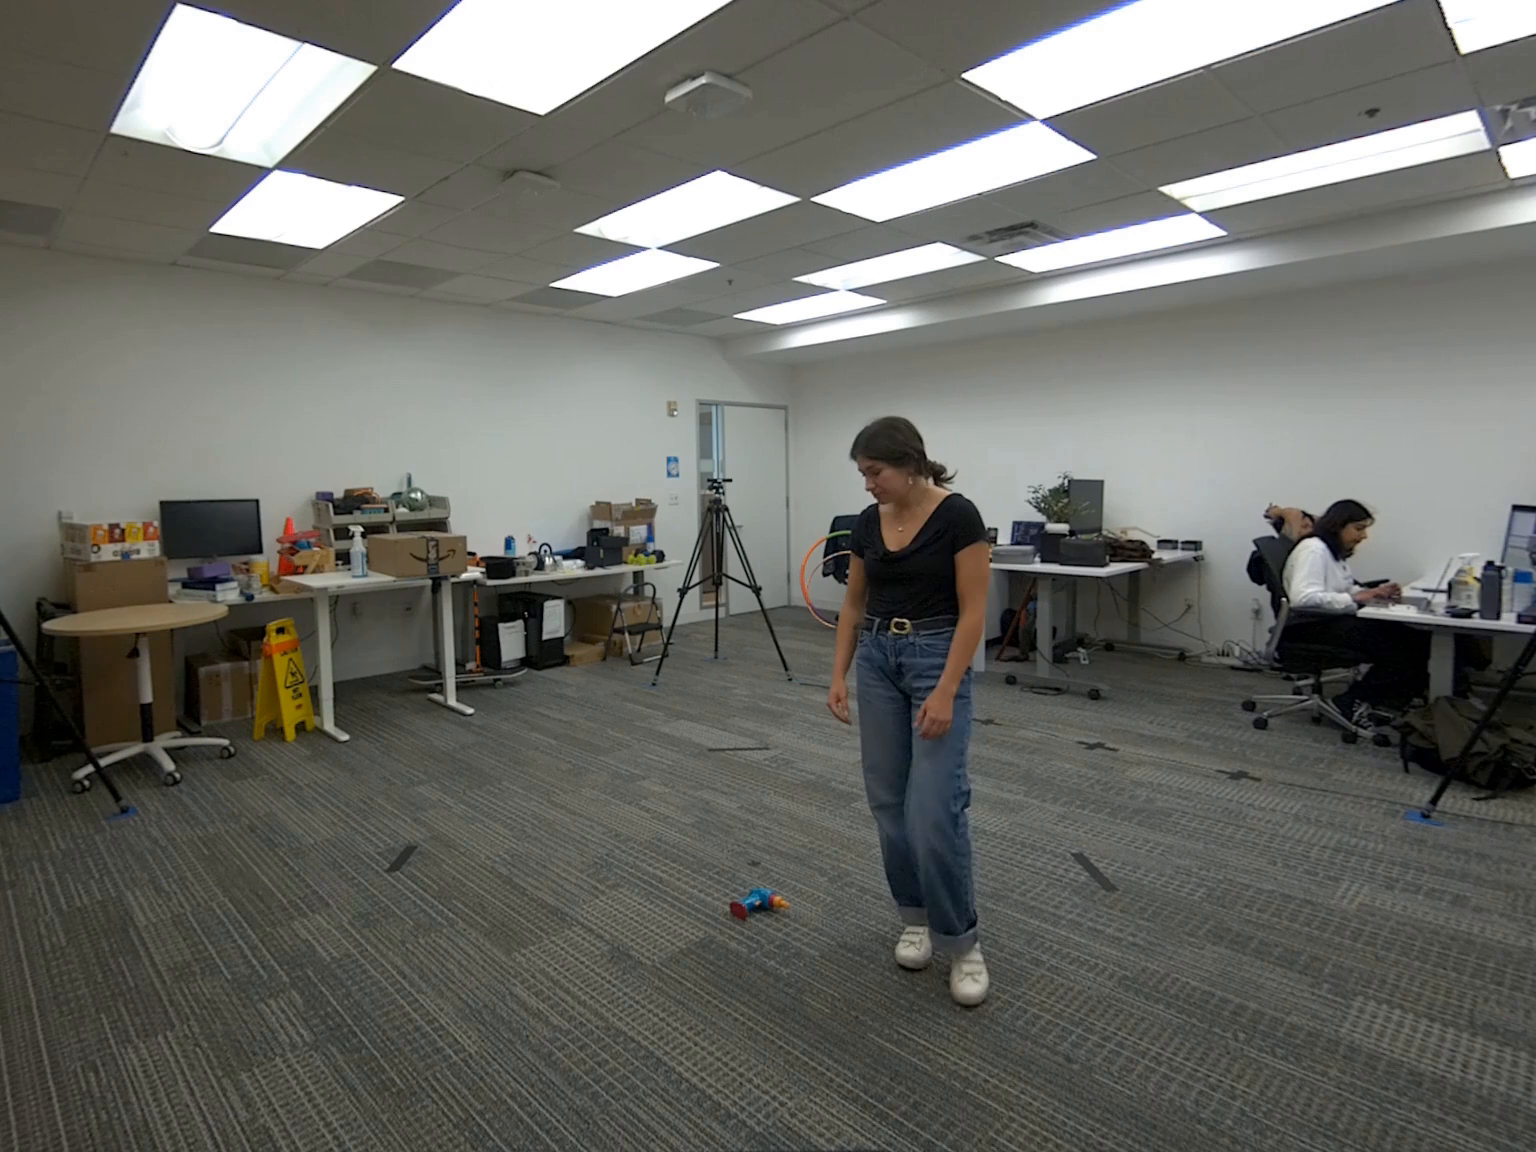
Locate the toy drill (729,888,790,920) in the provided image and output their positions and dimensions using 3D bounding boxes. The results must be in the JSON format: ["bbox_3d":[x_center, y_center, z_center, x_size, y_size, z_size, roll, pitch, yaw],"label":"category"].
[{"bbox_3d":[-0.015,1.059,2.750,0.174,0.061,0.142,-3,5,41],"label":"toy drill"}]
